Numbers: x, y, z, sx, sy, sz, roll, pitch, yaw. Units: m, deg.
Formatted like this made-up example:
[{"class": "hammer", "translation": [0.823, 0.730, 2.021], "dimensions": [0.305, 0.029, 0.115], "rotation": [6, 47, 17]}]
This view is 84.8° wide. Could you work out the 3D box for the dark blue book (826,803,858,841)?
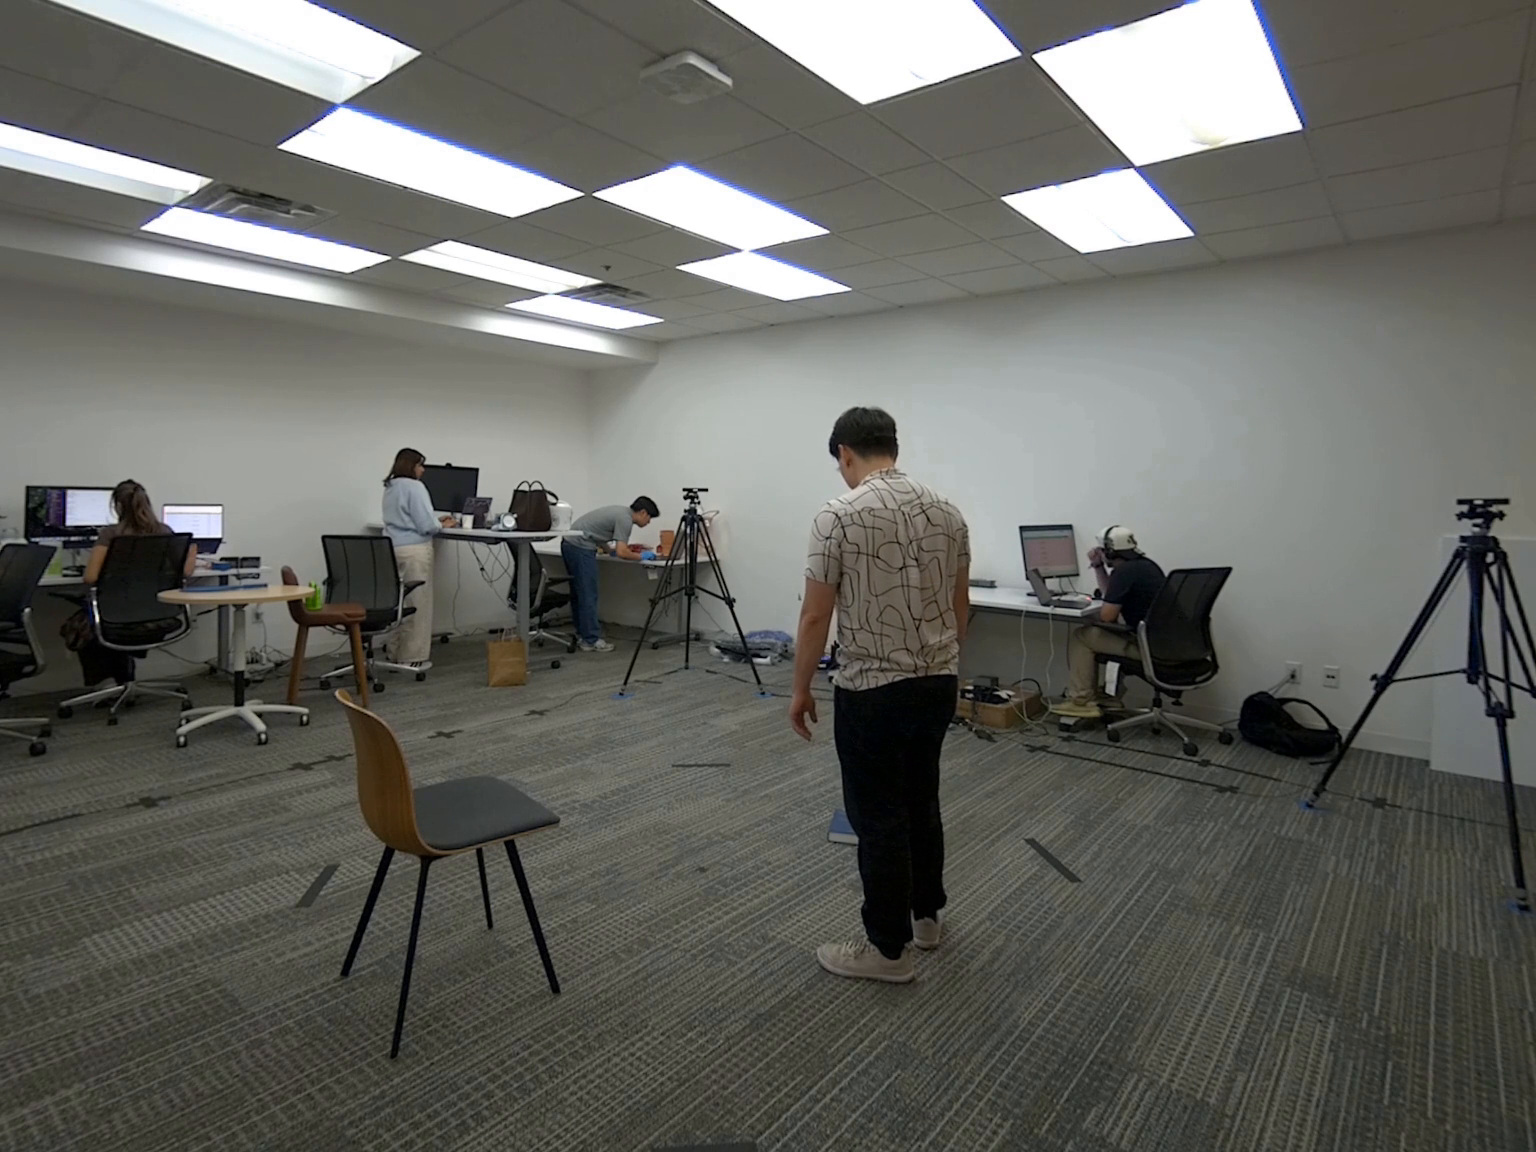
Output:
[{"class": "dark blue book", "translation": [0.335, 1.014, 3.472], "dimensions": [0.166, 0.045, 0.242], "rotation": [3, 5, 12]}]
